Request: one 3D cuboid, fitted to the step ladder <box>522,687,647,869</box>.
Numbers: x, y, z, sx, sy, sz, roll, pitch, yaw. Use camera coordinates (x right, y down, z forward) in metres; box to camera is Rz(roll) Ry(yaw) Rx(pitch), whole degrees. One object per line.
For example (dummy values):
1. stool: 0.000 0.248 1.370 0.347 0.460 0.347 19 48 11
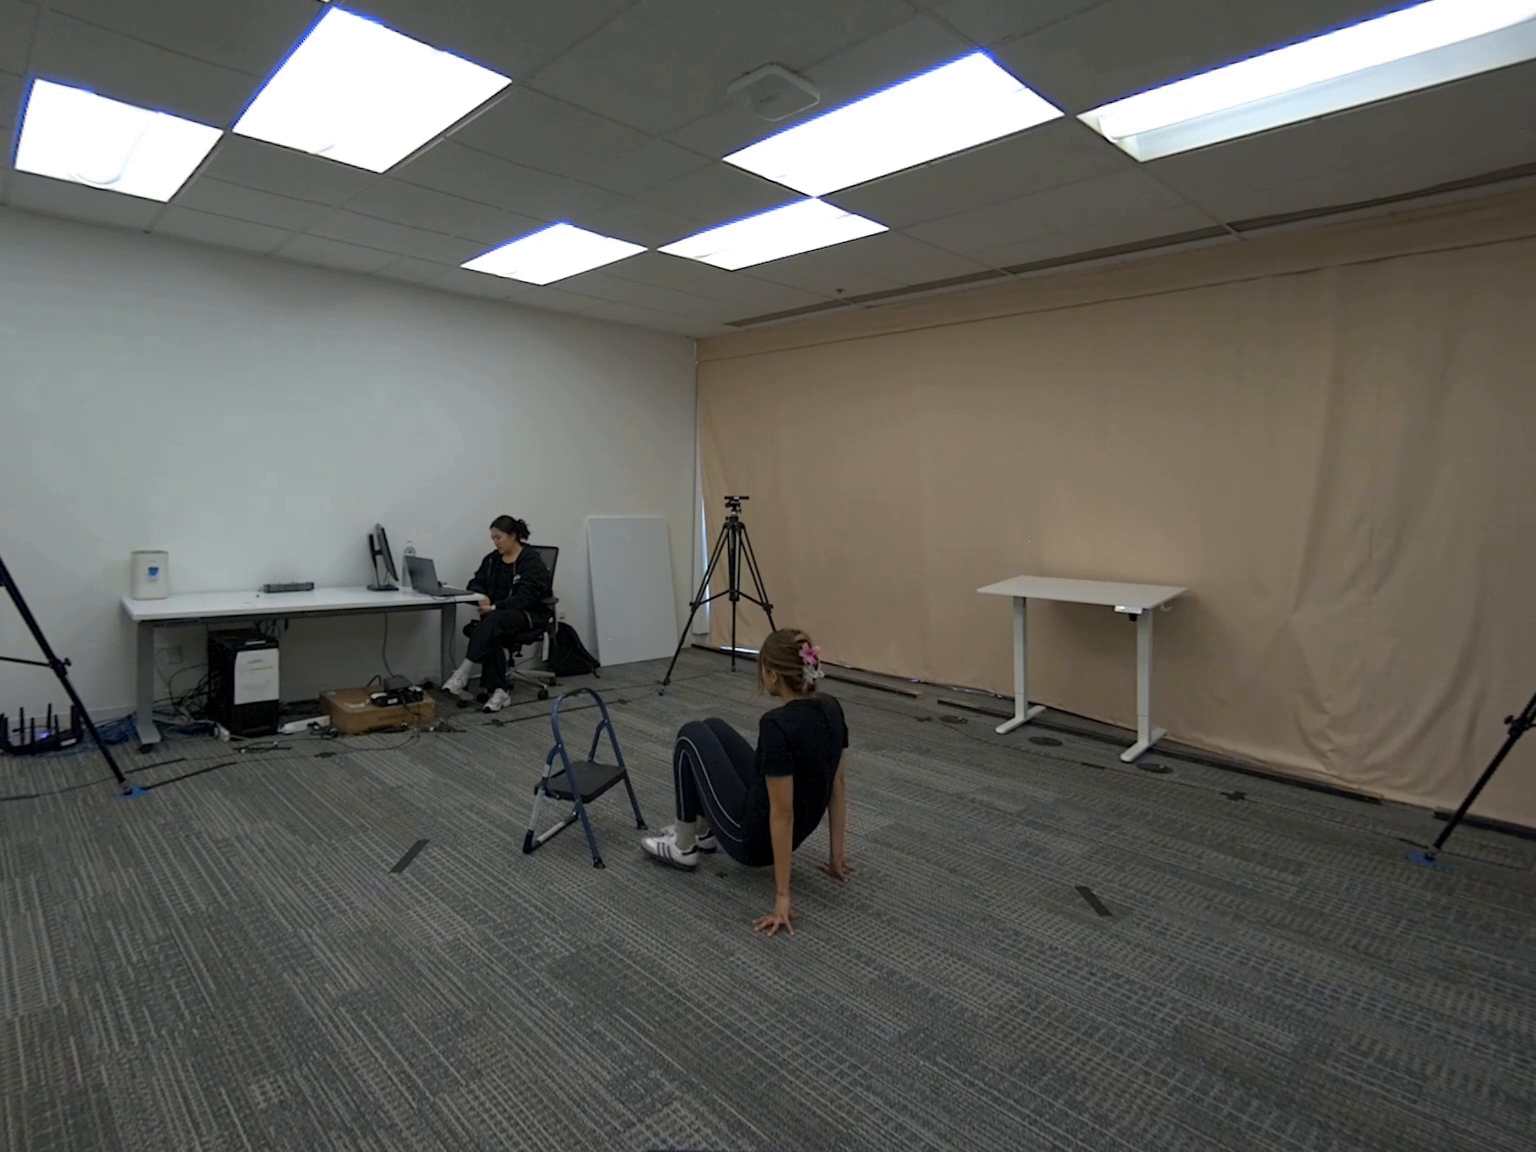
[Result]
1. step ladder: -0.726 0.761 3.376 0.354 0.604 0.426 2 4 16
